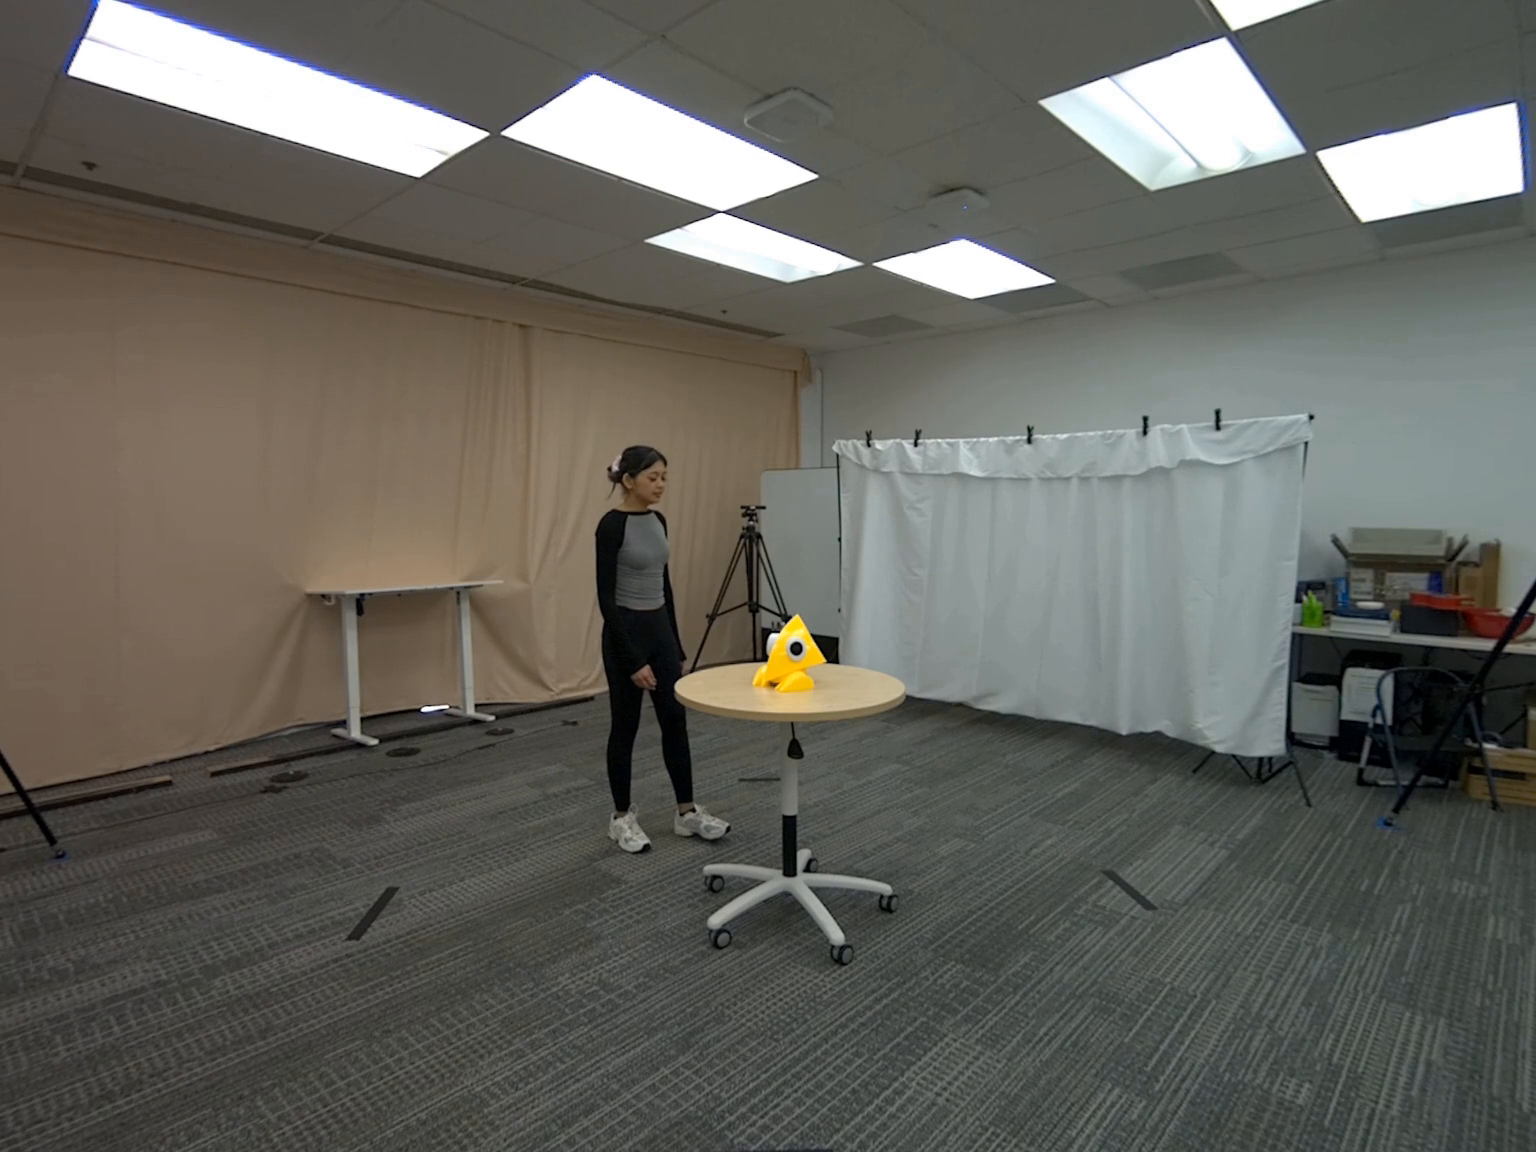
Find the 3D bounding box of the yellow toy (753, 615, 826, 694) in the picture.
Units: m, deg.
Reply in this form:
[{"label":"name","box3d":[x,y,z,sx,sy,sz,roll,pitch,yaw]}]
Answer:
[{"label":"yellow toy","box3d":[0.062,0.251,2.810,0.187,0.230,0.211,-4,6,-43]}]
